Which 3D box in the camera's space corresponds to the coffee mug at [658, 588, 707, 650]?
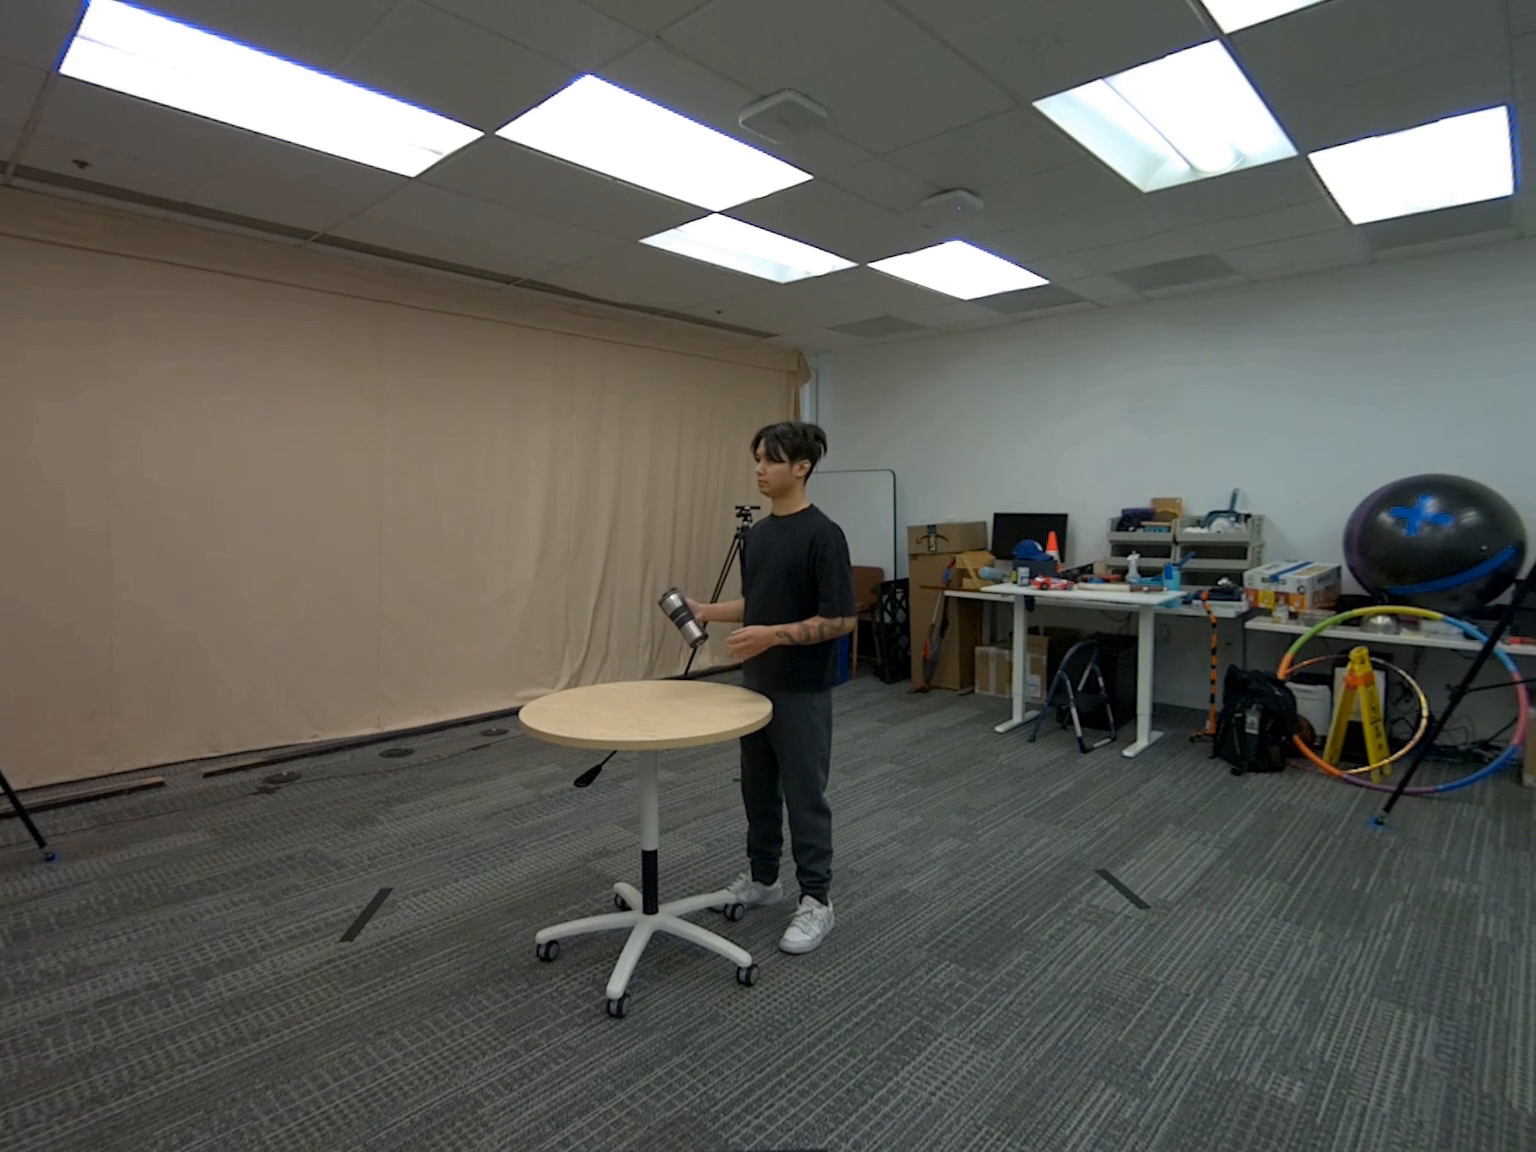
[{"bbox_3d":[-0.258,0.136,2.827,0.119,0.206,0.088,-24,-21,-50],"label":"coffee mug"}]
